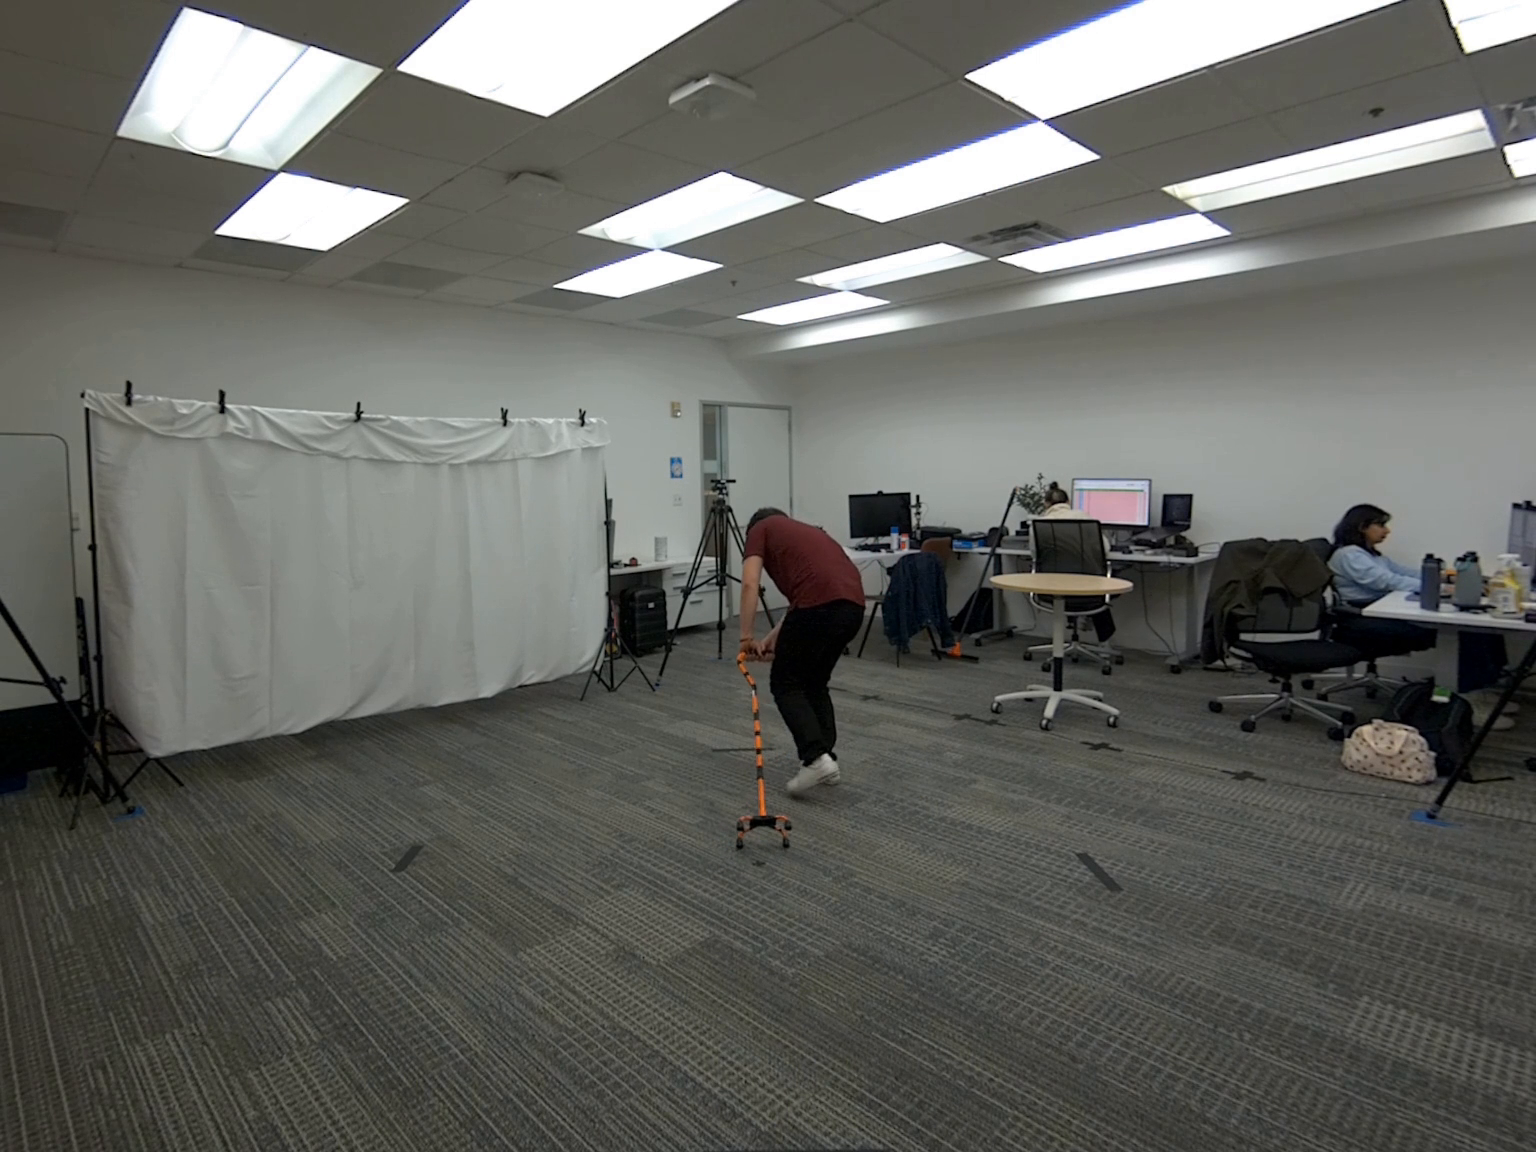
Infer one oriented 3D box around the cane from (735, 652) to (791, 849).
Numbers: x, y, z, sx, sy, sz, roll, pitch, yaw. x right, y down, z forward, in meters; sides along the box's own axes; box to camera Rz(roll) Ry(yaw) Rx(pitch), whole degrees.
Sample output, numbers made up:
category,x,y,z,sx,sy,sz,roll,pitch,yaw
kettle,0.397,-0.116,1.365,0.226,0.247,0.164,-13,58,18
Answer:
category,x,y,z,sx,sy,sz,roll,pitch,yaw
cane,-0.046,0.668,3.528,0.206,0.147,0.934,-2,42,-3
